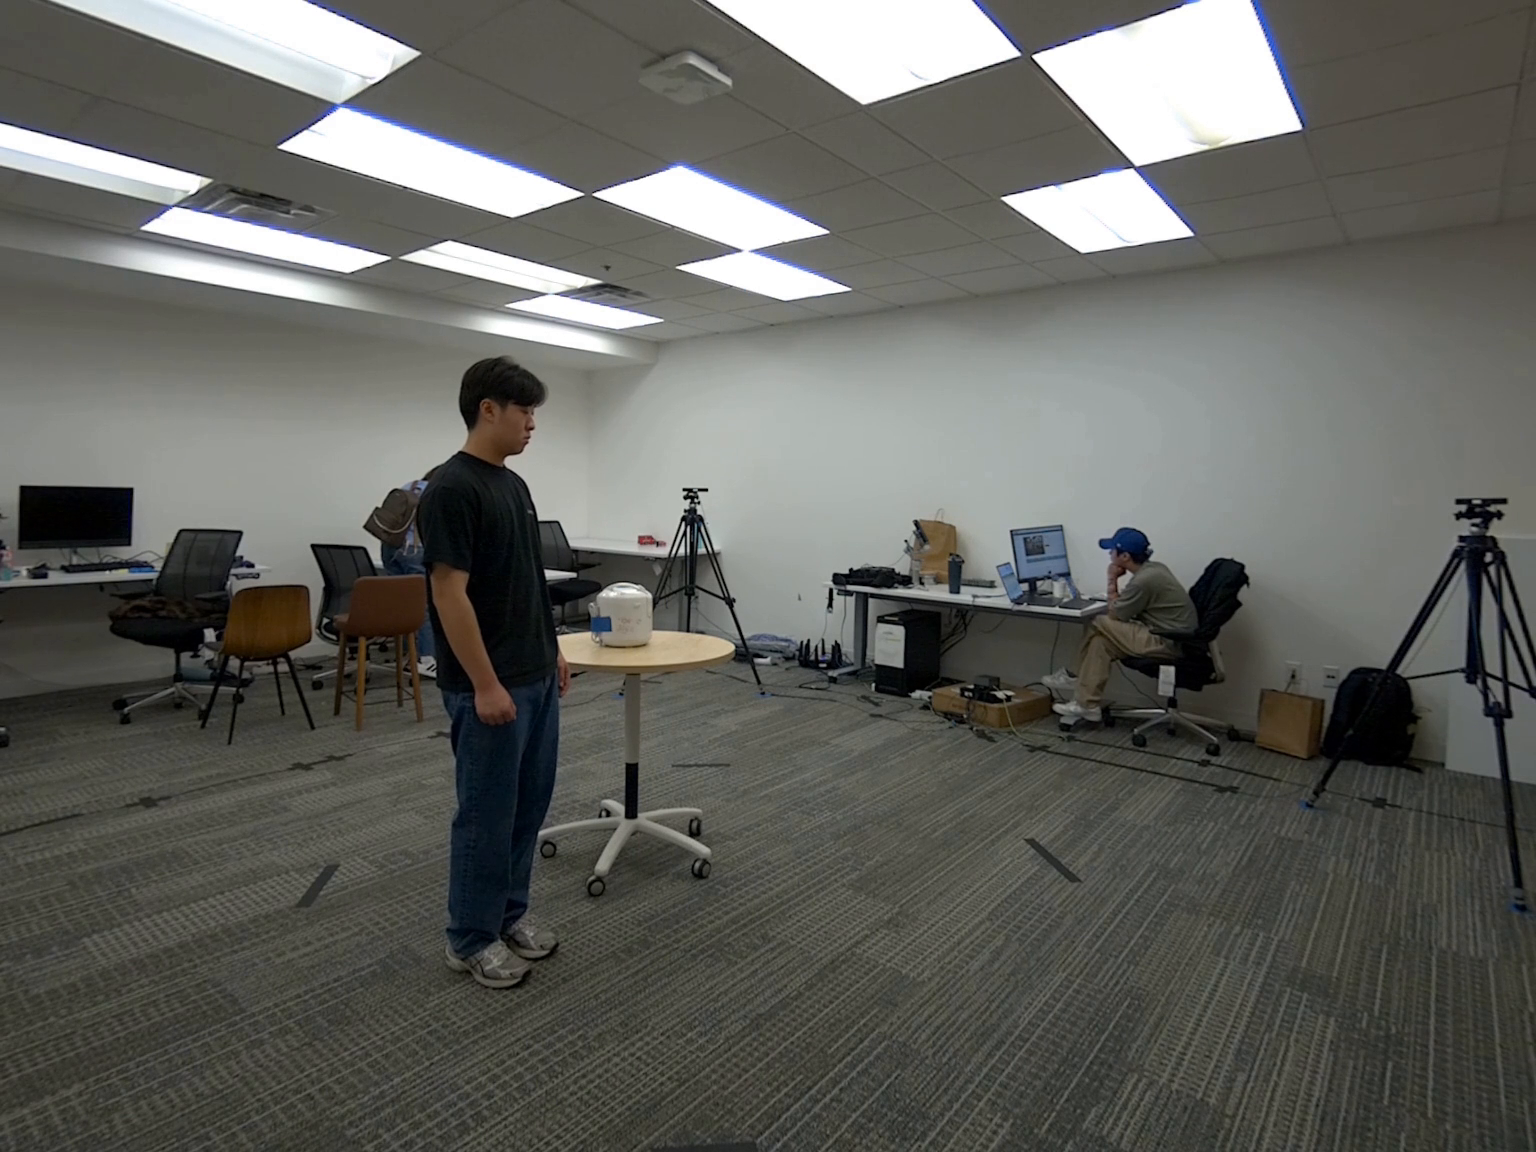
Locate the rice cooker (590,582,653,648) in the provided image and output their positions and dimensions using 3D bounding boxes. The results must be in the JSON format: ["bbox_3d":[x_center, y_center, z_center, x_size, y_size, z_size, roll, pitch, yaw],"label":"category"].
[{"bbox_3d":[-0.561,0.139,3.238,0.225,0.232,0.214,2,4,18],"label":"rice cooker"}]
